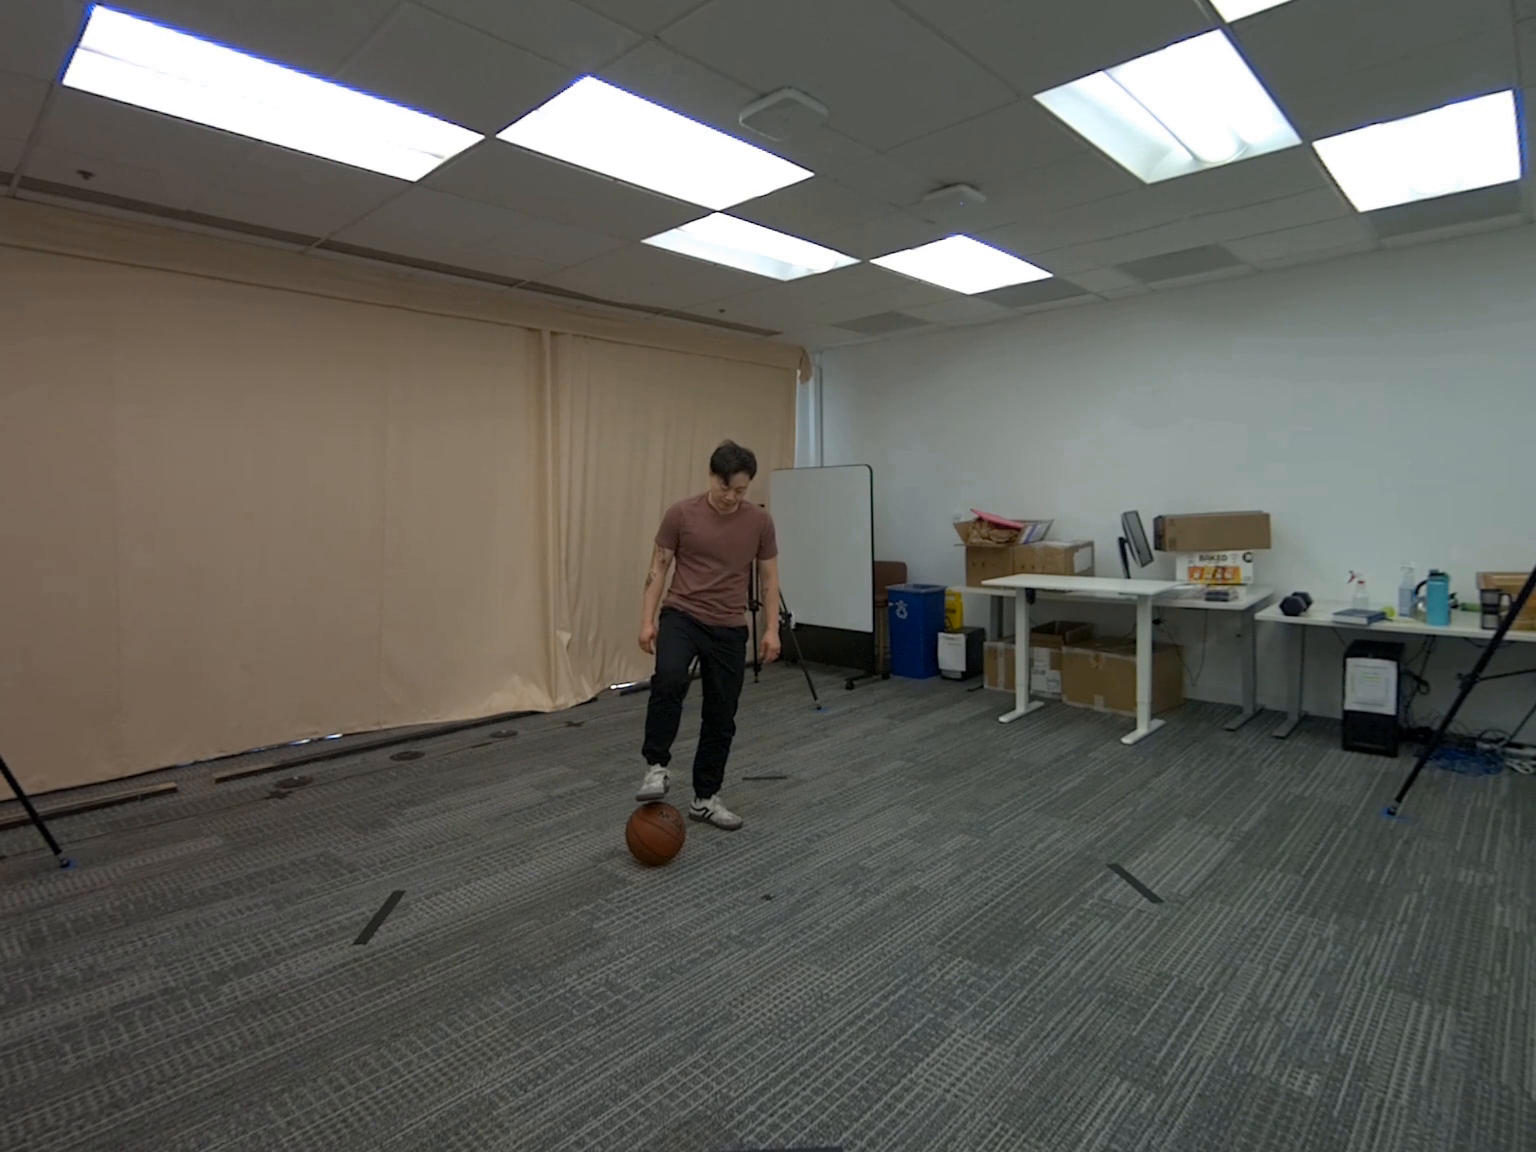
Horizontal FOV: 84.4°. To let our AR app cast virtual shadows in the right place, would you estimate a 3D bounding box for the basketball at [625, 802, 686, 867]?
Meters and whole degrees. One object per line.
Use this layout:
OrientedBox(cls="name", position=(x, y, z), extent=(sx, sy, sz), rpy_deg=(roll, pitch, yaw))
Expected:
OrientedBox(cls="basketball", position=(-0.442, 1.003, 3.296), extent=(0.236, 0.235, 0.237), rpy_deg=(-1, 4, -2))
